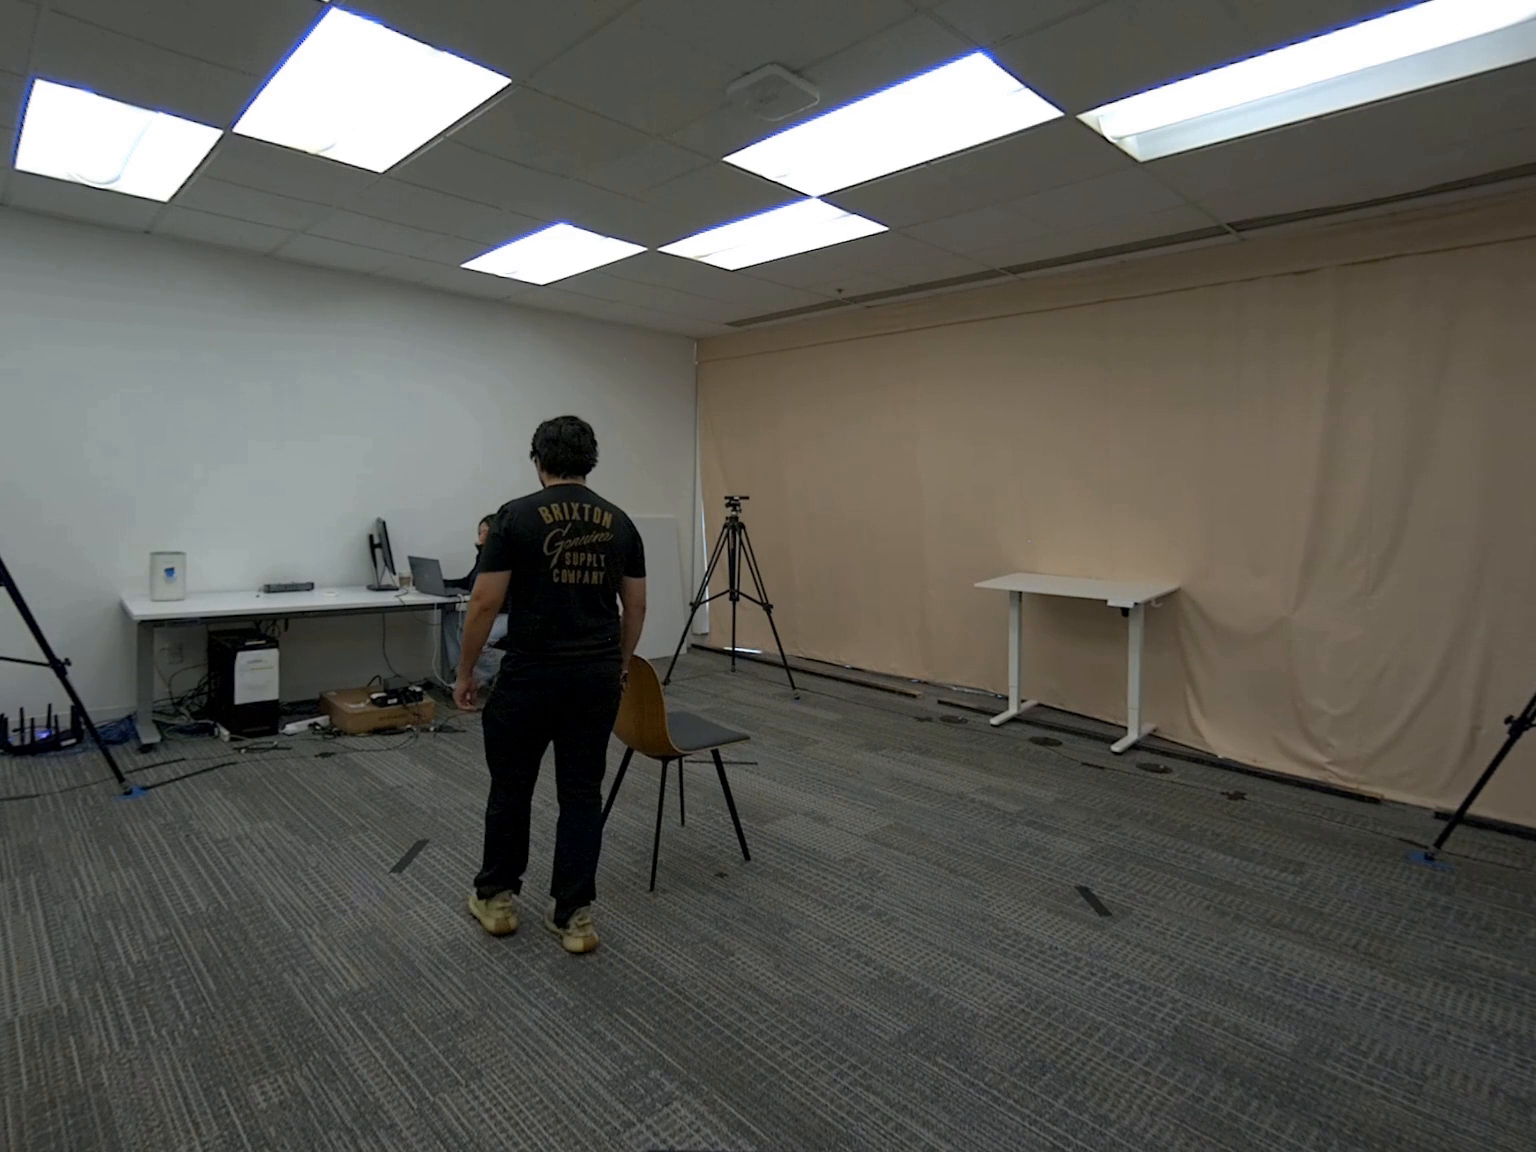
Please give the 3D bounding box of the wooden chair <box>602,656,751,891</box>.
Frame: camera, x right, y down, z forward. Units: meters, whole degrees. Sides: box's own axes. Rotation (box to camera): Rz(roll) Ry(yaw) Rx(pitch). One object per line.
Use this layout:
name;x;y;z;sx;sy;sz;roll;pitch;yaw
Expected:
wooden chair;-0.372;0.660;3.246;0.512;0.873;0.490;-7;8;-39
